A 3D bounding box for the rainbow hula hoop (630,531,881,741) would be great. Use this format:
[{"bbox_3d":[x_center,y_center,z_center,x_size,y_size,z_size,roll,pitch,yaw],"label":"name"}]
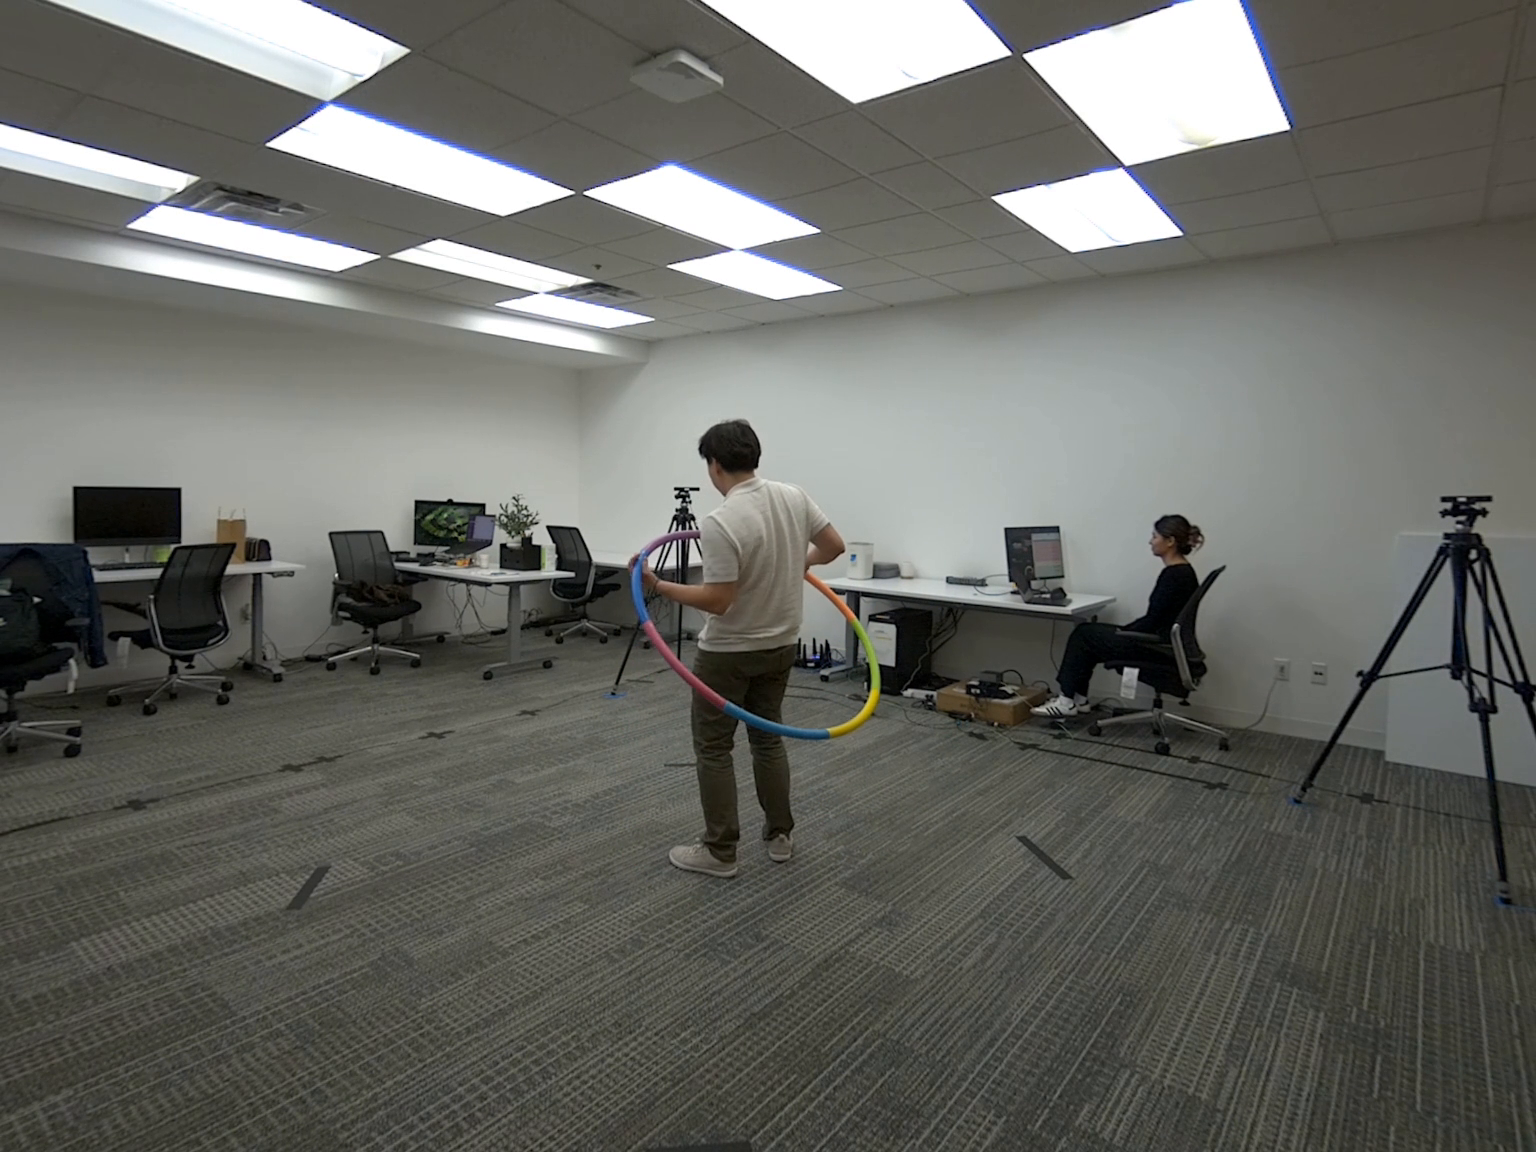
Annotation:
[{"bbox_3d":[-0.042,0.160,3.012,0.960,0.035,1.006,21,32,-16],"label":"rainbow hula hoop"}]
